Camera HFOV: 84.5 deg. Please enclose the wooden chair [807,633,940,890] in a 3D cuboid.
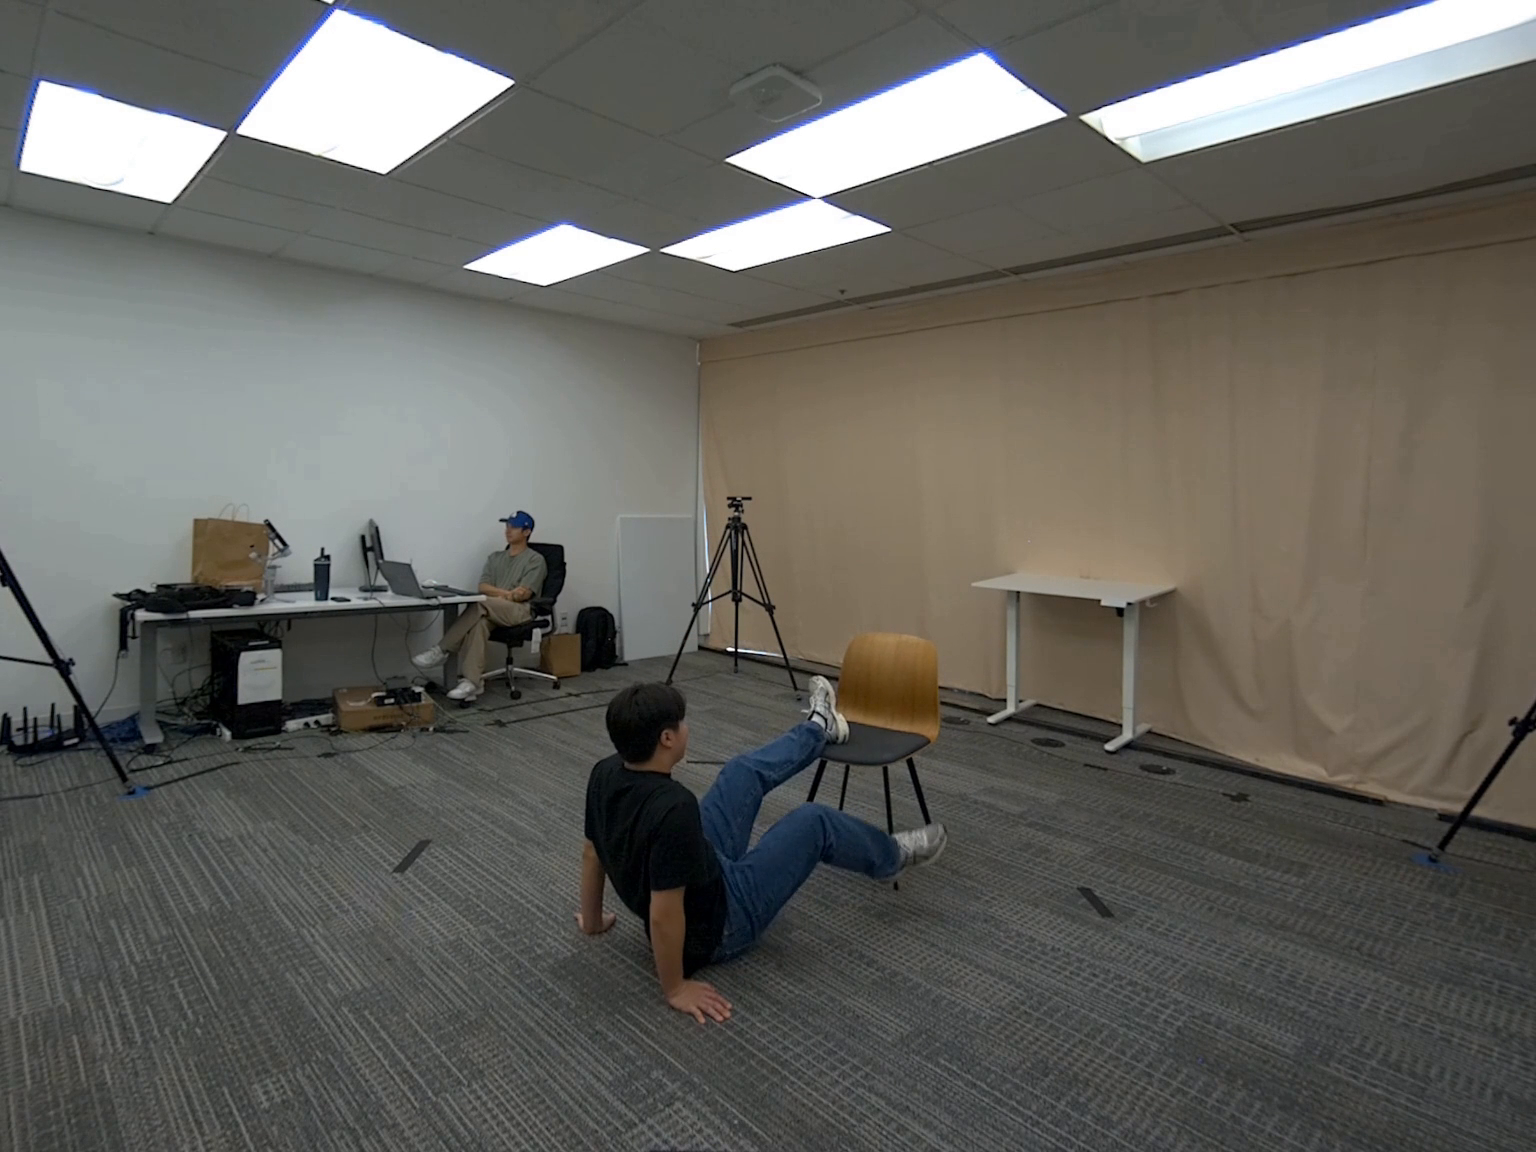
[{"bbox_3d":[0.383,0.677,3.292,0.489,0.878,0.511,3,0,32],"label":"wooden chair"}]
